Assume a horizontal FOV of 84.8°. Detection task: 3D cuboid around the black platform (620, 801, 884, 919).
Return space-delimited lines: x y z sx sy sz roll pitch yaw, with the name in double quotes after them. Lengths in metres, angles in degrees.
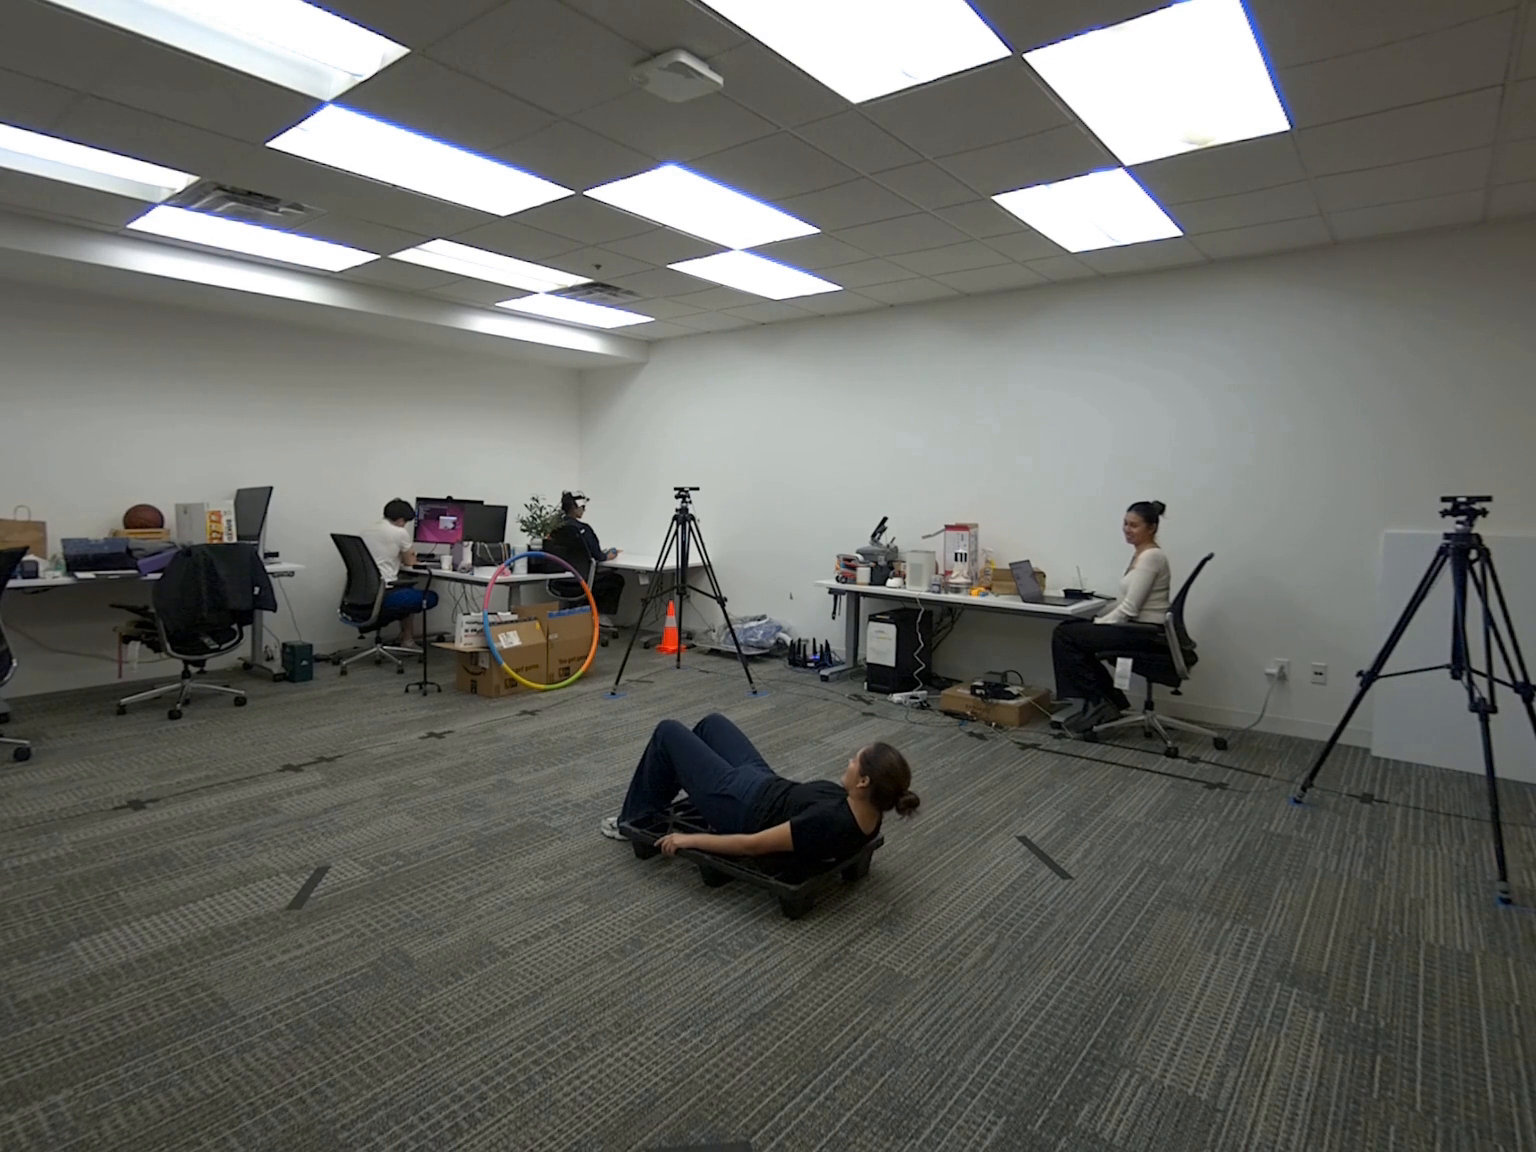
-0.052 0.998 3.161 0.832 0.143 0.587 5 6 37 "black platform"
